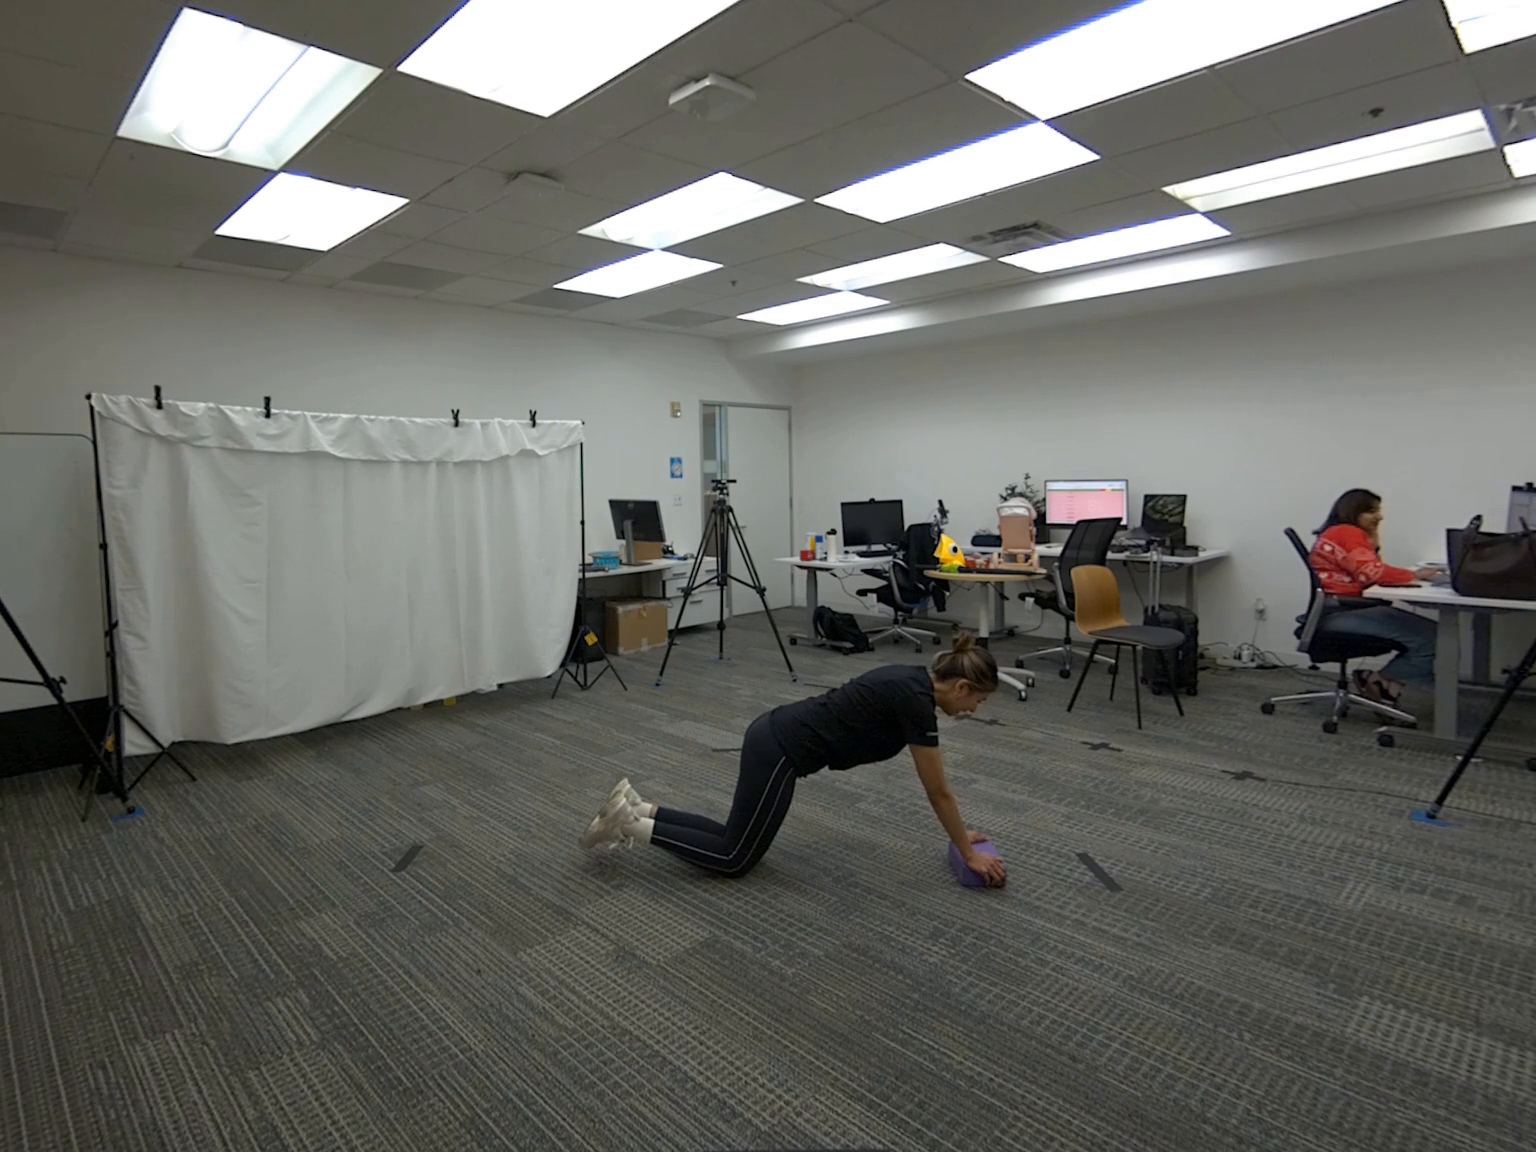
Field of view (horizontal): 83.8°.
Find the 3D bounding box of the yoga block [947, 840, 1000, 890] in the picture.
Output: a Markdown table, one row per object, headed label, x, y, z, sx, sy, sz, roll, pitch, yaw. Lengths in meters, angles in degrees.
| label | x | y | z | sx | sy | sz | roll | pitch | yaw |
| --- | --- | --- | --- | --- | --- | --- | --- | --- | --- |
| yoga block | 0.730 | 1.002 | 2.999 | 0.149 | 0.076 | 0.230 | -1 | 7 | 0 |
